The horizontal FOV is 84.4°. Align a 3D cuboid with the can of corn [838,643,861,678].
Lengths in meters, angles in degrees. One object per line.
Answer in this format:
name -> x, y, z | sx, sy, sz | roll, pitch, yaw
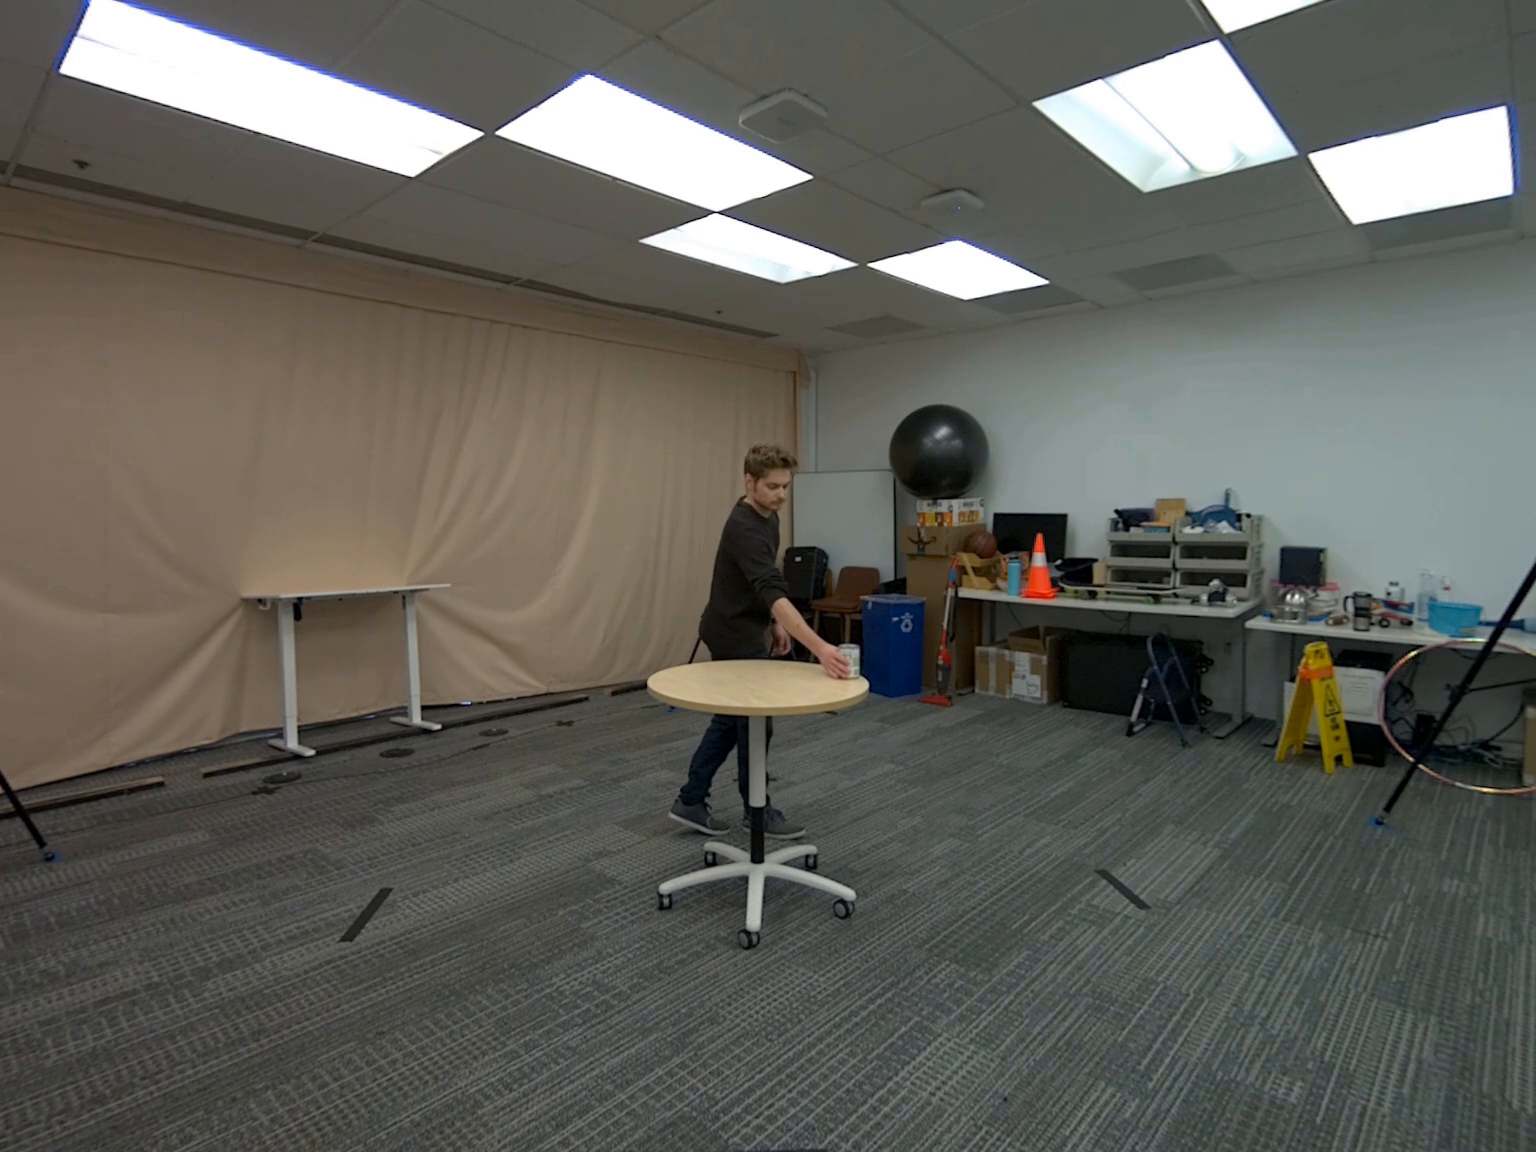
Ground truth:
can of corn -> 0.295, 0.304, 2.974 | 0.074, 0.111, 0.074 | 0, 3, -2
